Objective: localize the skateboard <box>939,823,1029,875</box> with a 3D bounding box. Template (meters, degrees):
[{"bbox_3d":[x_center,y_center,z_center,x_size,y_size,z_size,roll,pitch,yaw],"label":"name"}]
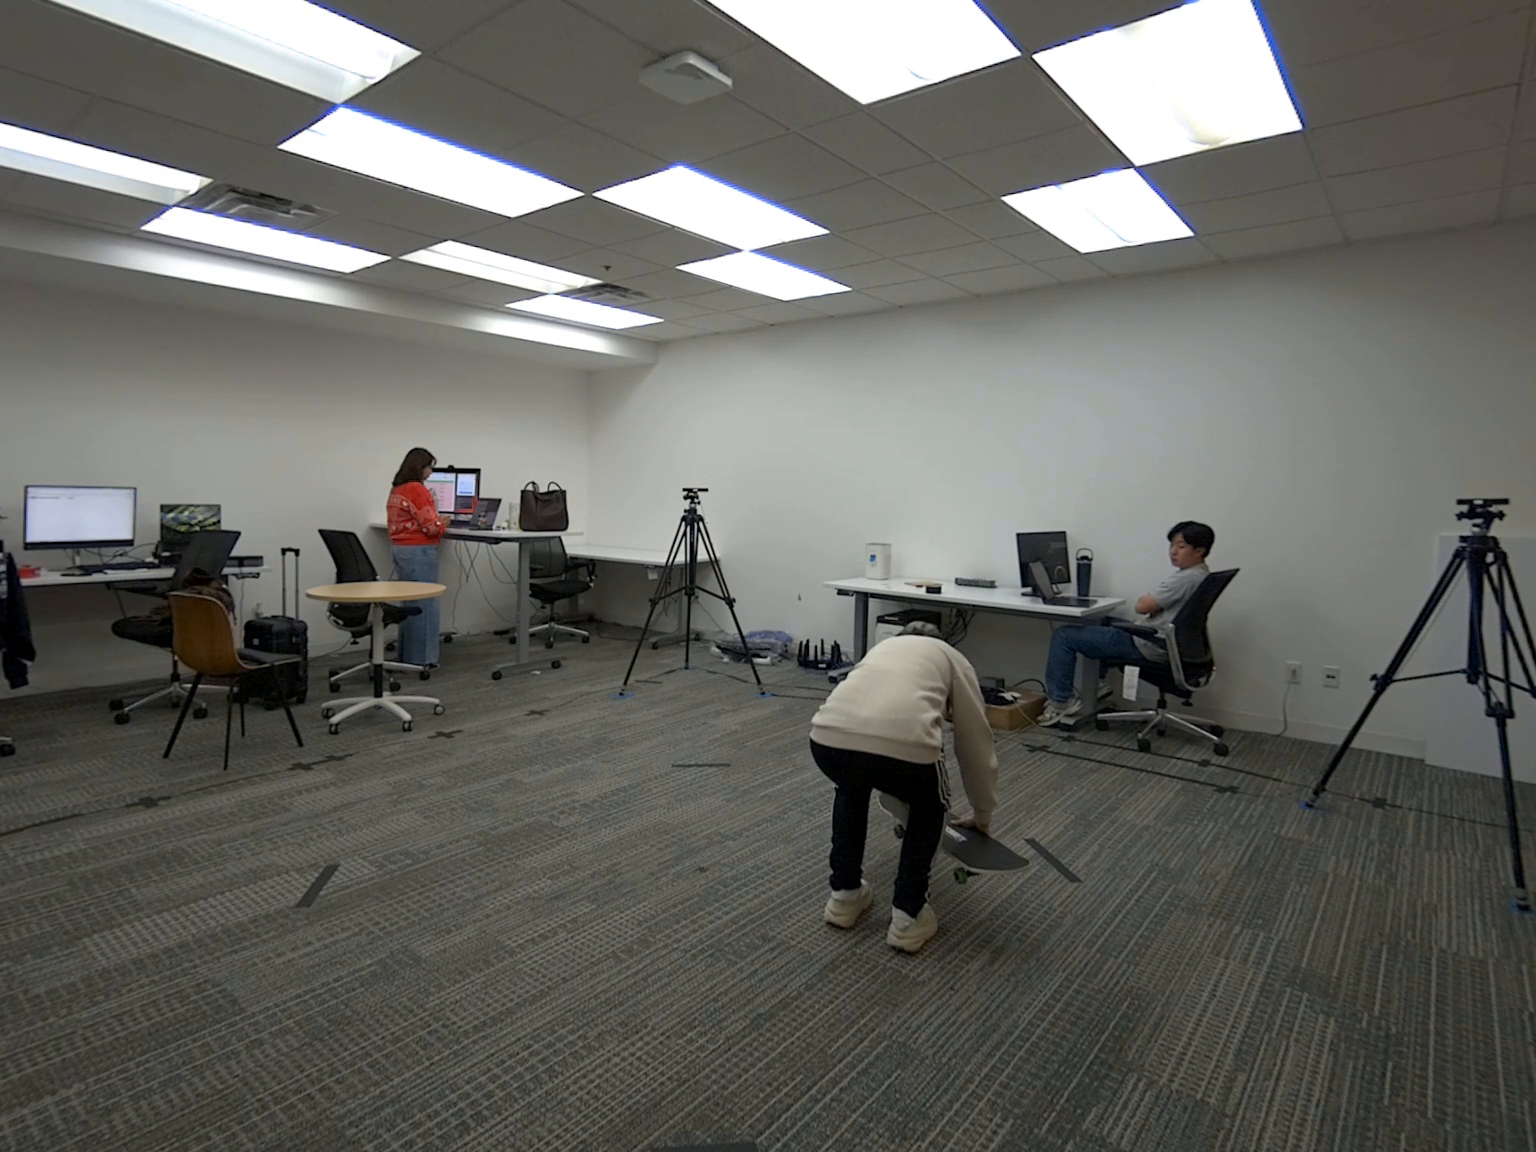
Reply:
[{"bbox_3d":[0.606,0.895,2.923,0.190,0.110,0.802,-4,5,-20],"label":"skateboard"}]
